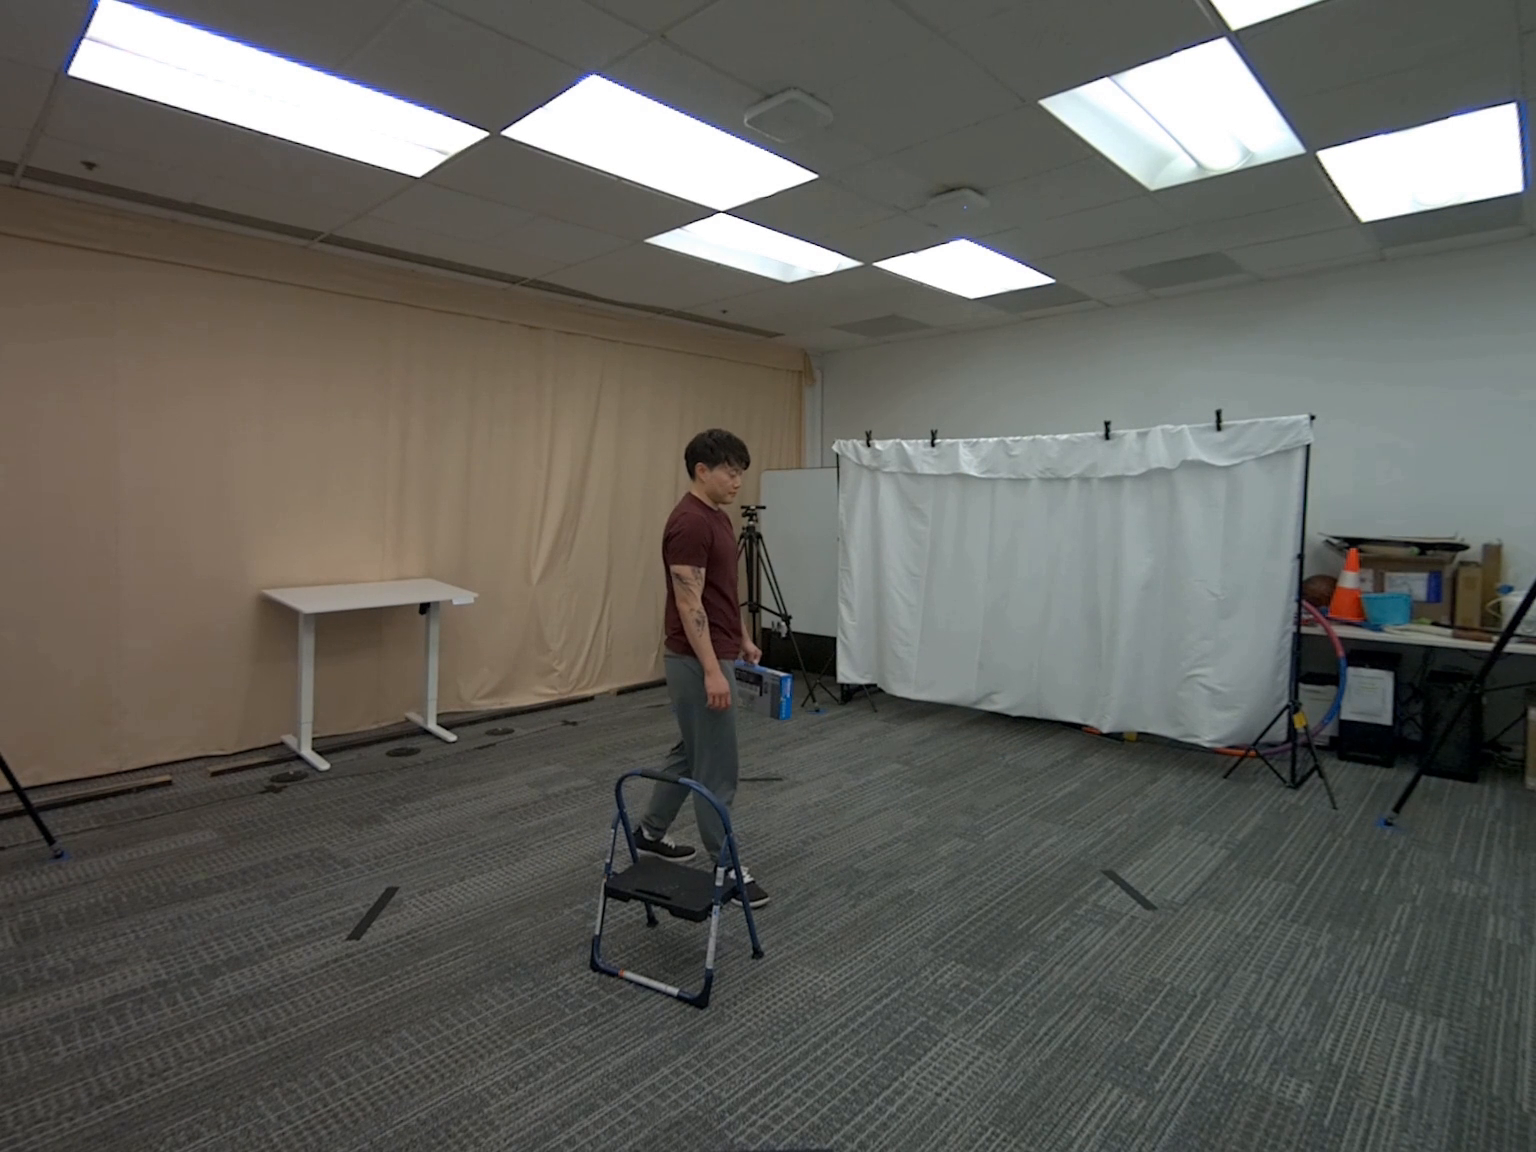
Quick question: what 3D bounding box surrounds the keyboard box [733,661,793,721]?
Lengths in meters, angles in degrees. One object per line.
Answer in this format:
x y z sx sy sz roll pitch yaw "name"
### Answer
-0.068 0.447 3.380 0.057 0.175 0.451 -2 6 -40 "keyboard box"
